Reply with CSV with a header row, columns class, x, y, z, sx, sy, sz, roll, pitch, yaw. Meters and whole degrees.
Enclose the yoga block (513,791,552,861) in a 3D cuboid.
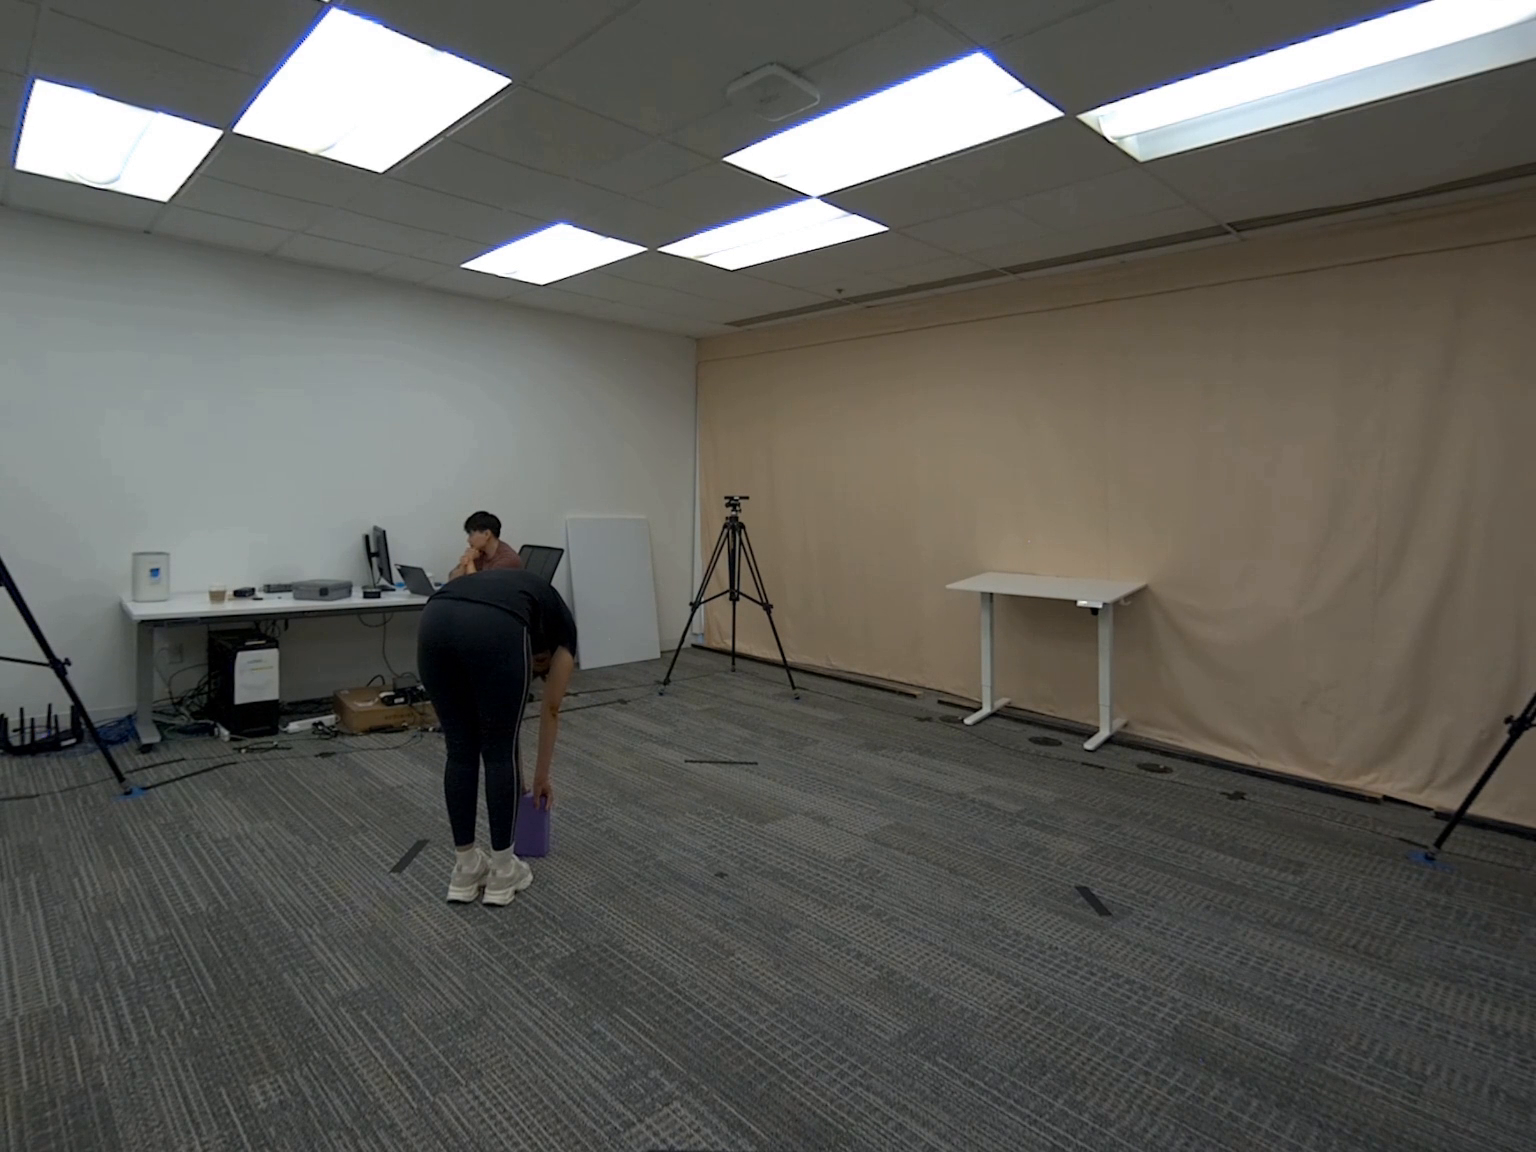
class,x,y,z,sx,sy,sz,roll,pitch,yaw
yoga block,-0.930,0.966,3.254,0.149,0.229,0.076,3,4,5
